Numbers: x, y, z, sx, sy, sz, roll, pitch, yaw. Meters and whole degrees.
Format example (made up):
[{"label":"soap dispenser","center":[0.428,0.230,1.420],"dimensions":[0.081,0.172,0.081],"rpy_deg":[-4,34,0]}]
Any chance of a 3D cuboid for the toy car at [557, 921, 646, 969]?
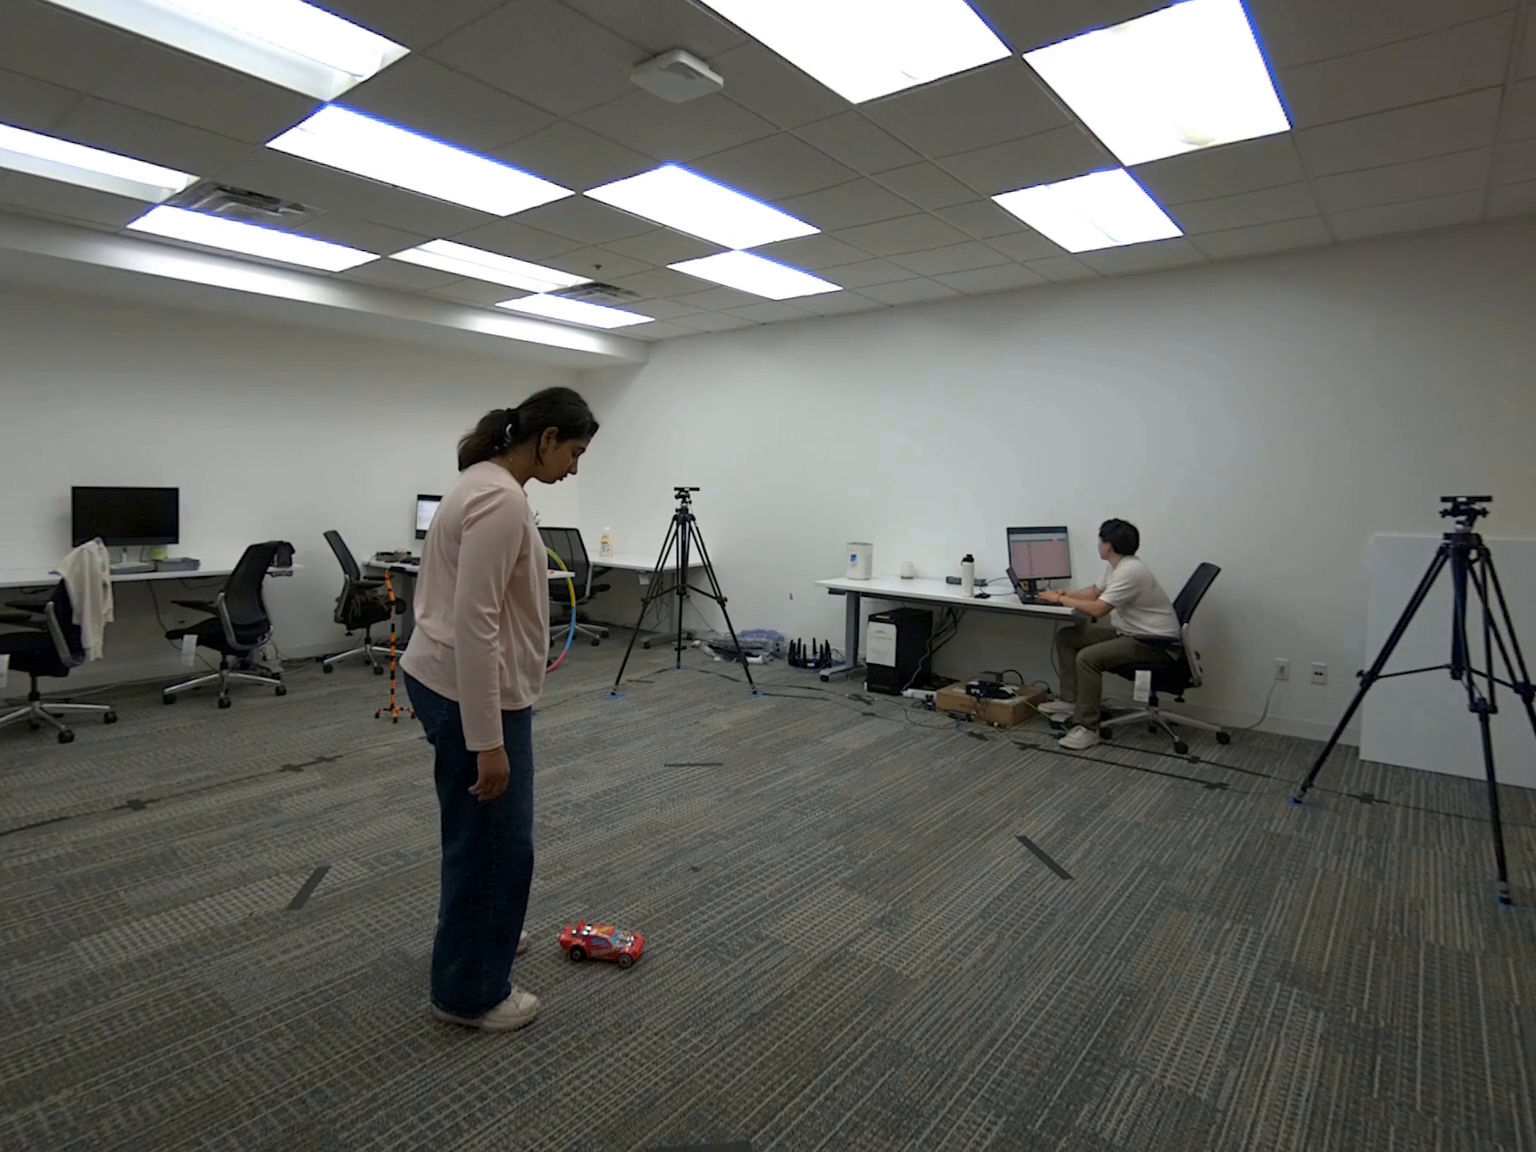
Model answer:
[{"label":"toy car","center":[-0.510,1.093,2.517],"dimensions":[0.258,0.083,0.129],"rpy_deg":[13,6,9]}]
